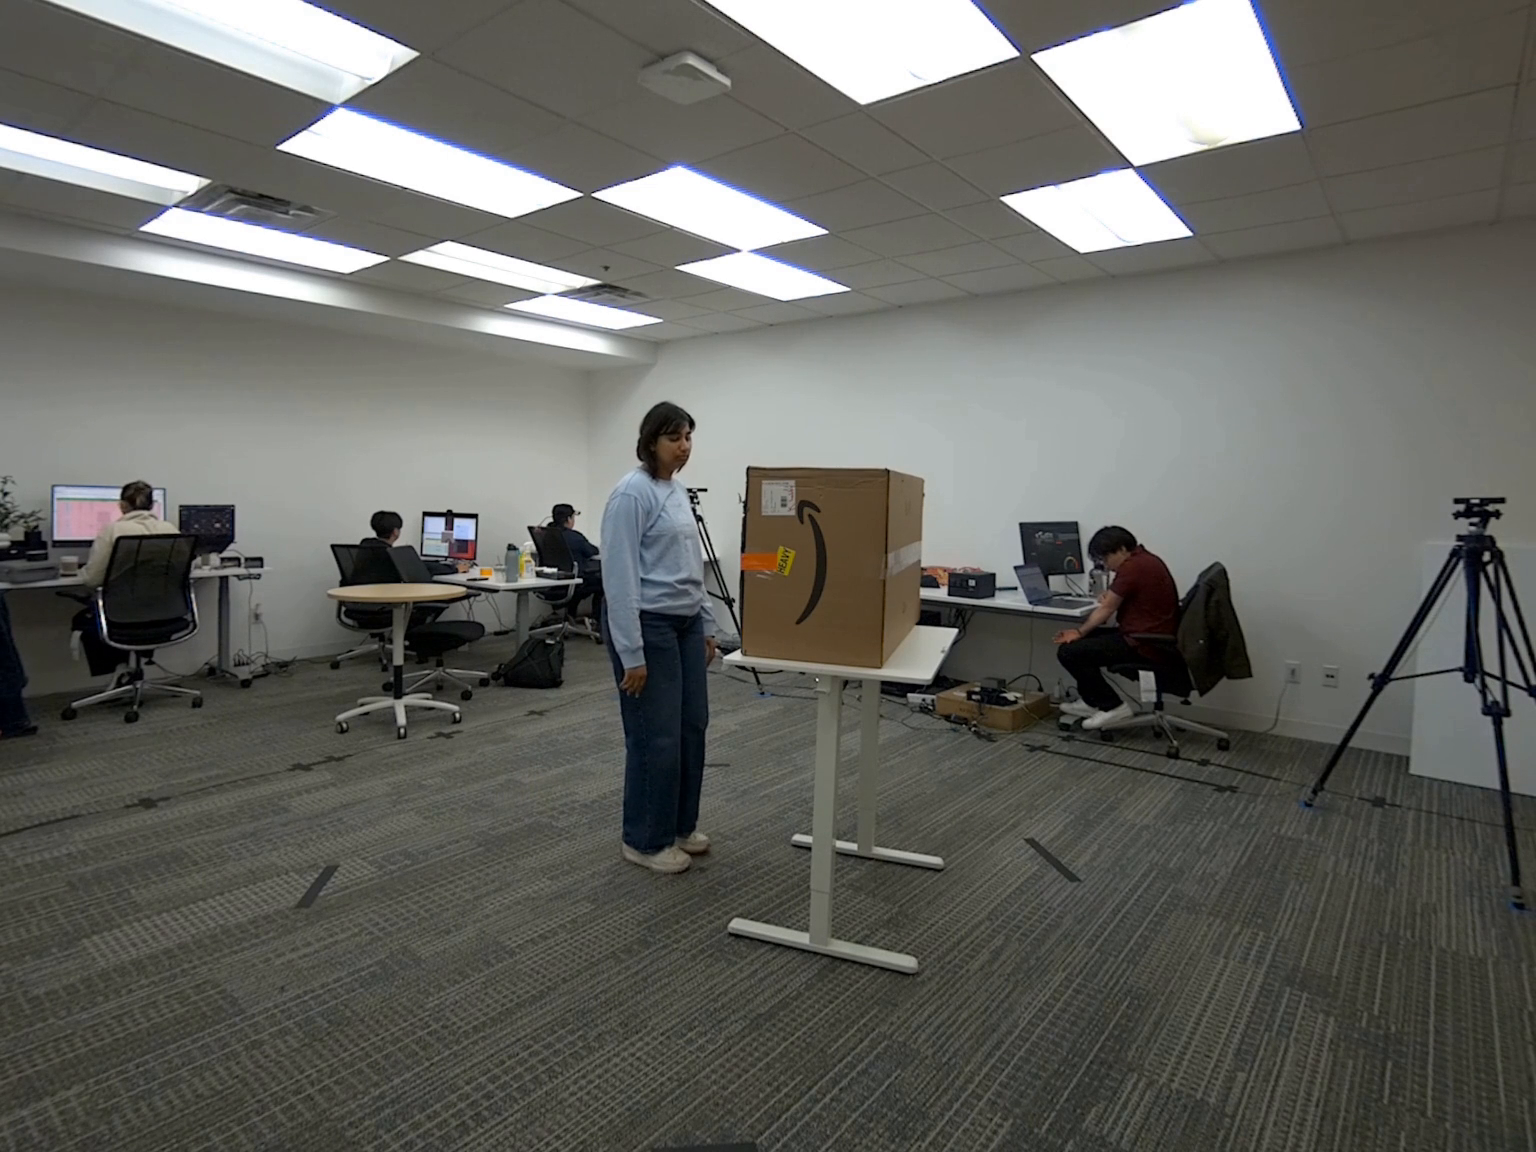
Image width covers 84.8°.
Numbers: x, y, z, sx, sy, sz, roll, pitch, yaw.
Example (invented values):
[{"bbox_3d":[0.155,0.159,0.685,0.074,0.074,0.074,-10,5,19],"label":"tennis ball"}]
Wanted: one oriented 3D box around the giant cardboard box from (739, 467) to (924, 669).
[{"bbox_3d":[0.261,-0.072,2.950,0.435,0.576,1.009,2,5,17],"label":"giant cardboard box"}]
